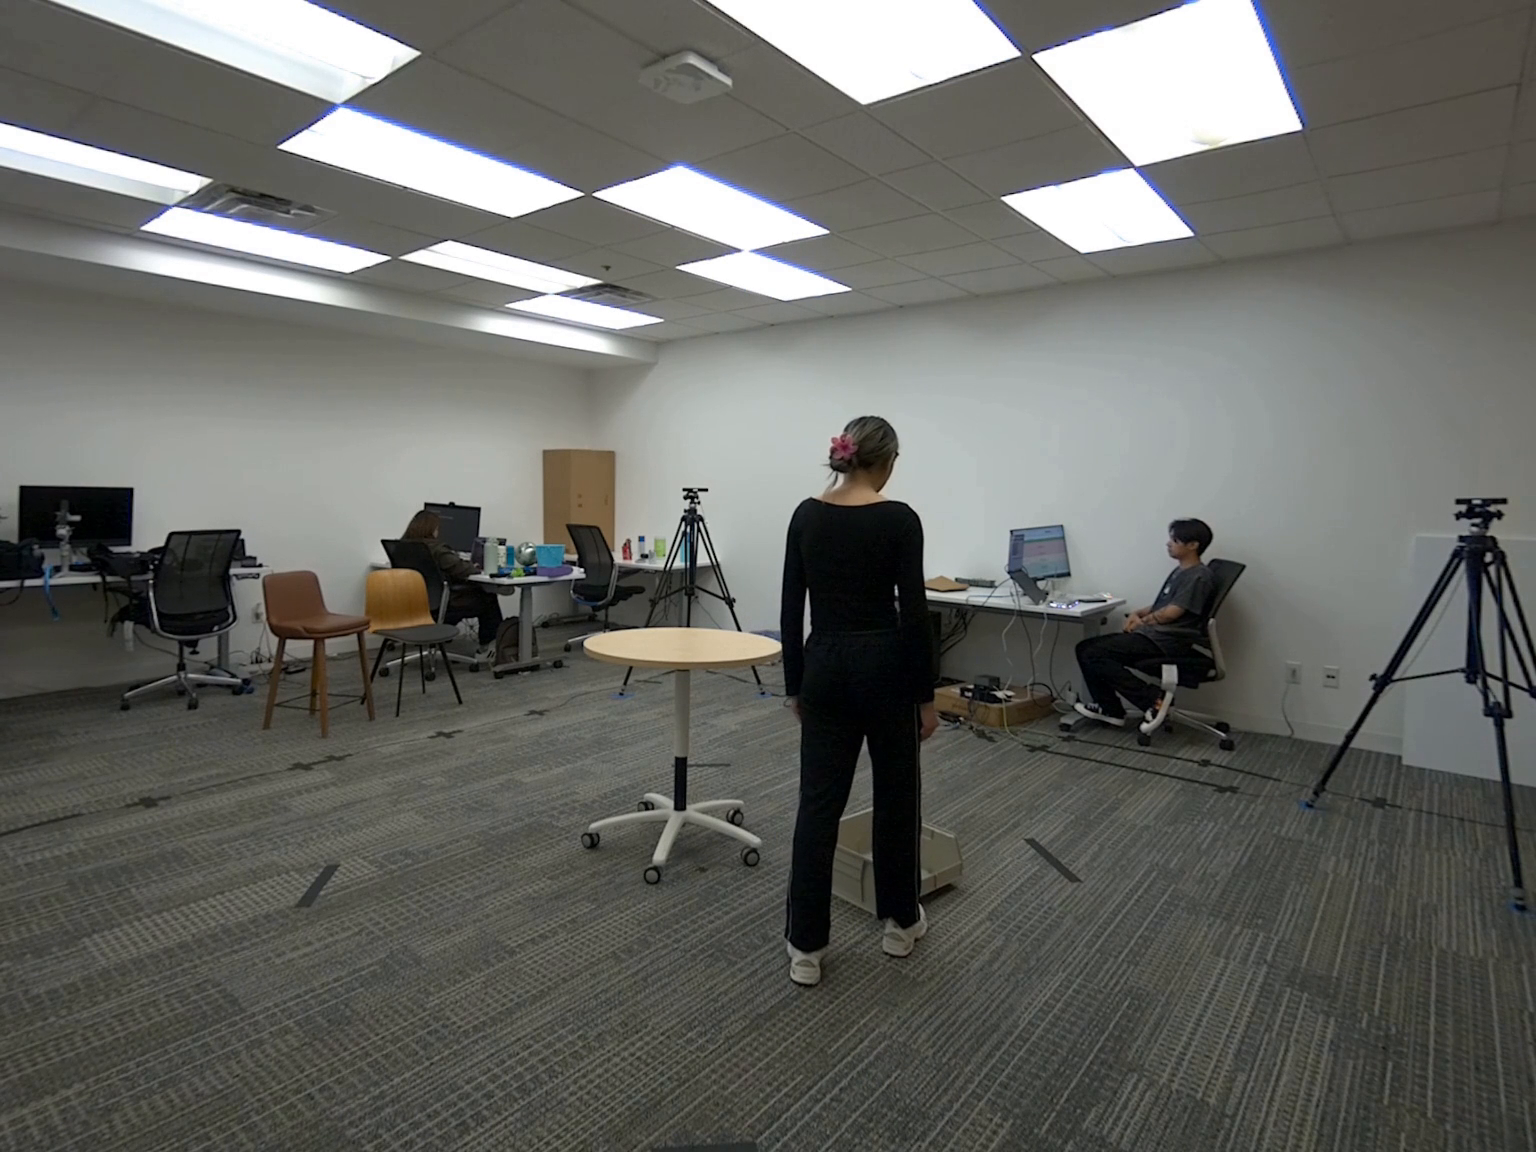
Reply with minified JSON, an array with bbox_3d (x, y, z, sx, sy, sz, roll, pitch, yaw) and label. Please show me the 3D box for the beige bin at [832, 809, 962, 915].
[{"bbox_3d":[0.408,1.001,3.028,0.410,0.188,0.390,-4,7,-42],"label":"beige bin"}]
